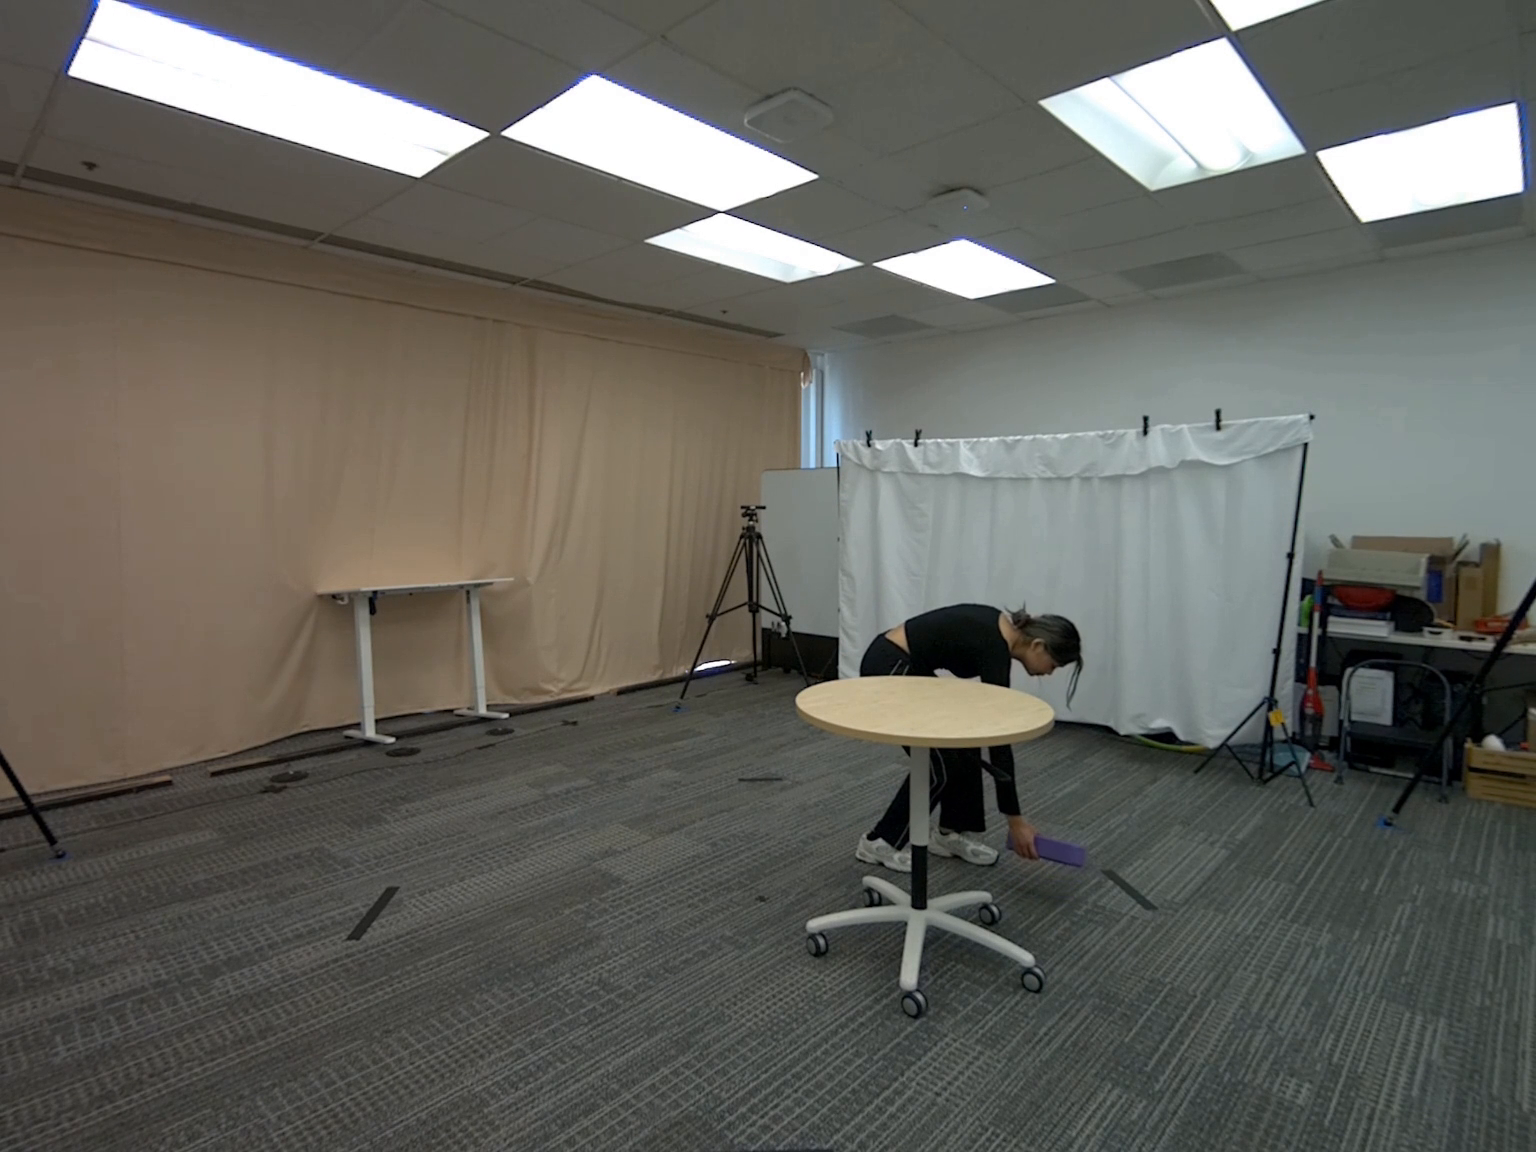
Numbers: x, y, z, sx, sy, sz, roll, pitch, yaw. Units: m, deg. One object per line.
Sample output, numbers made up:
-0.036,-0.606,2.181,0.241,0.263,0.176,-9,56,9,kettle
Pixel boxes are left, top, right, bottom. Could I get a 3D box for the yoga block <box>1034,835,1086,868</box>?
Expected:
1.017,0.980,3.021,0.237,0.077,0.144,6,-11,36,yoga block
